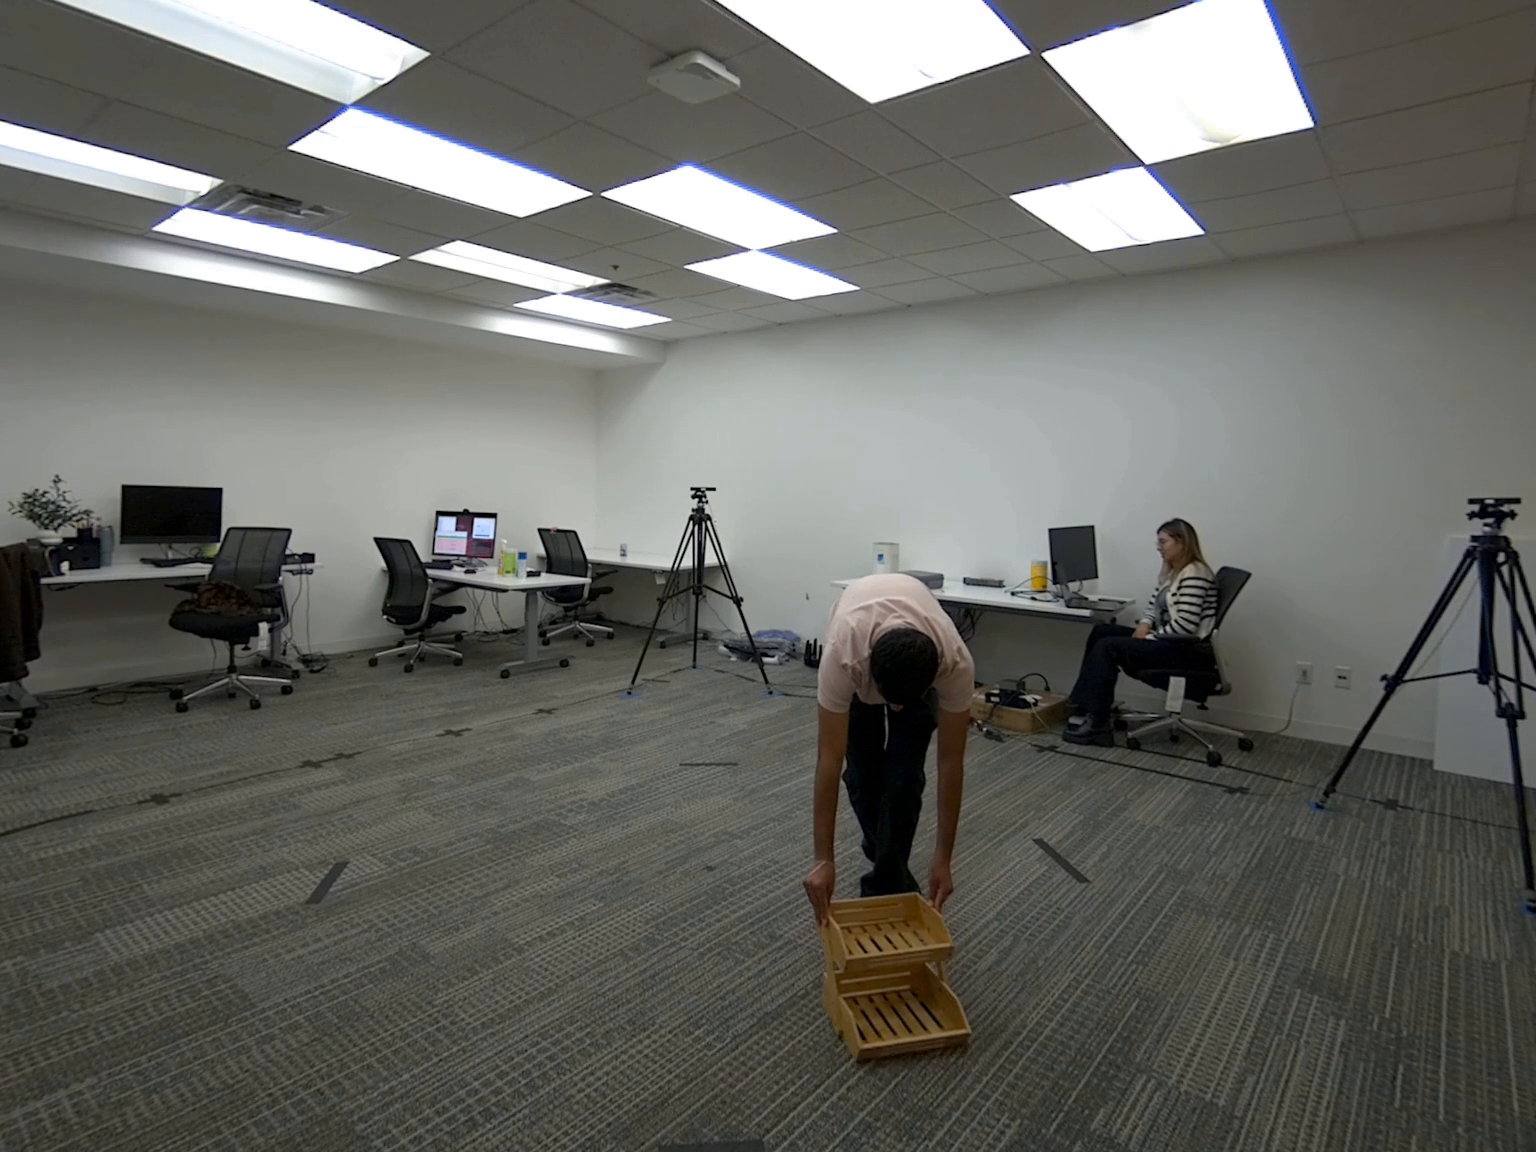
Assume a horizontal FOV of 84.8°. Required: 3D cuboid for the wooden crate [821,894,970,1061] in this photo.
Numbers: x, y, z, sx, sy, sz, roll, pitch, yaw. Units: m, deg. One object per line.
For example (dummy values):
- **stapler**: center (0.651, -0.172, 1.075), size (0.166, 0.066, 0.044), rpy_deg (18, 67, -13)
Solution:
- **wooden crate**: center (0.315, 1.039, 2.221), size (0.320, 0.272, 0.308), rpy_deg (0, 6, -14)
